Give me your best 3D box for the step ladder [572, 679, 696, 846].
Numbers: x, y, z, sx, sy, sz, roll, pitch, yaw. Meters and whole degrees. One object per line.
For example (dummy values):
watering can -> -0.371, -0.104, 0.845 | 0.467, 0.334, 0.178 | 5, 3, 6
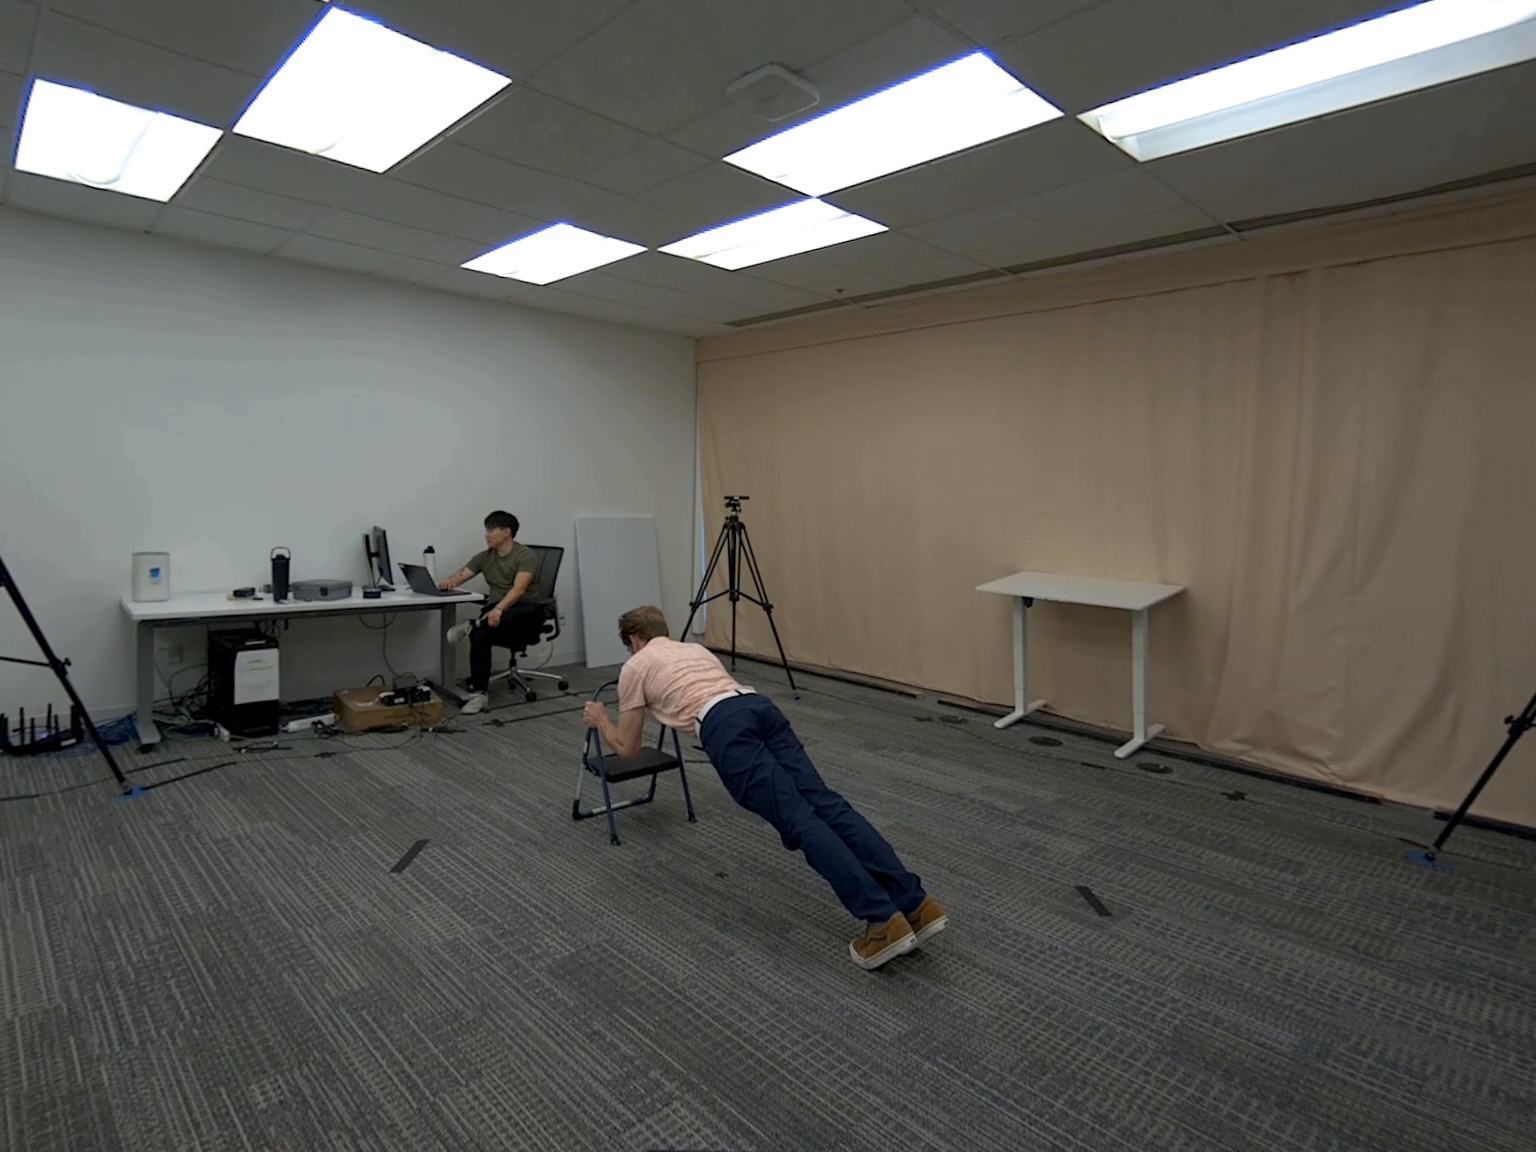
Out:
step ladder -> -0.576, 0.750, 3.596 | 0.421, 0.605, 0.358 | -2, 4, -43
